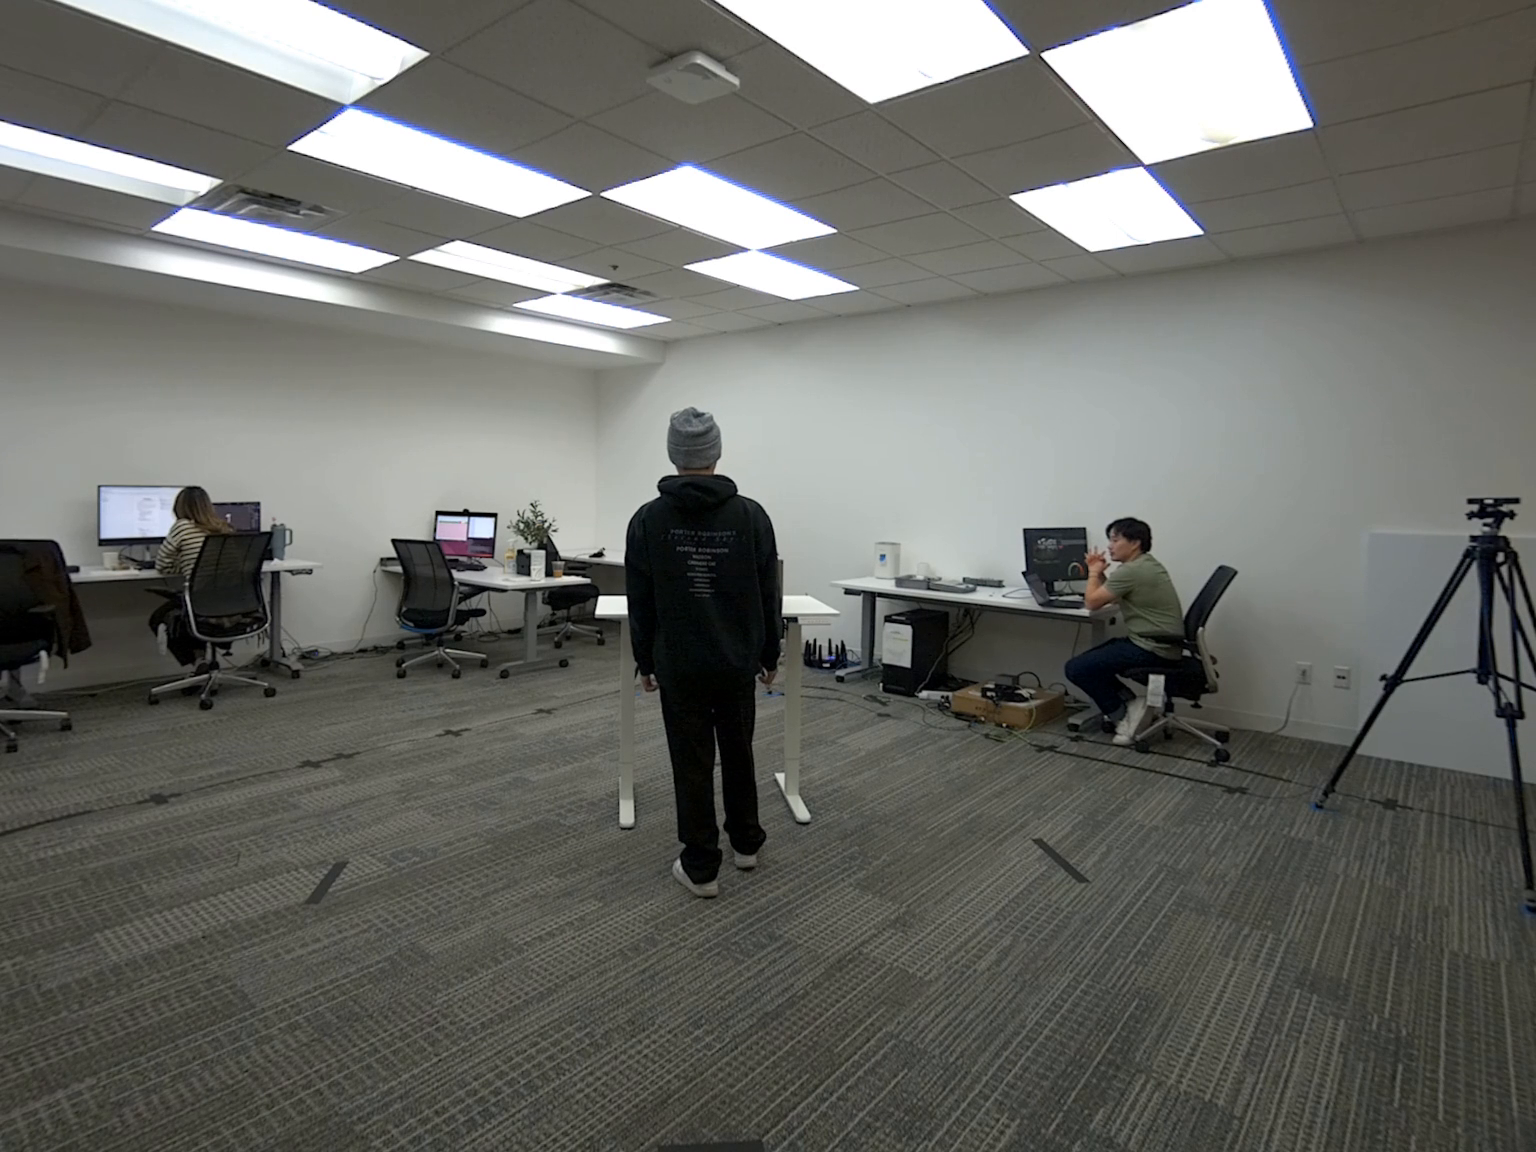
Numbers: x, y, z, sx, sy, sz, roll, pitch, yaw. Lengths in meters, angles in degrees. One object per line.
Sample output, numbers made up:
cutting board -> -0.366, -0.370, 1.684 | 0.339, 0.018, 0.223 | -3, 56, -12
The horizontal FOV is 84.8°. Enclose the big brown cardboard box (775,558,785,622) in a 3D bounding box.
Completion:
big brown cardboard box -> -0.248, 0.014, 3.707 | 0.584, 0.232, 0.423 | -1, 5, -8
